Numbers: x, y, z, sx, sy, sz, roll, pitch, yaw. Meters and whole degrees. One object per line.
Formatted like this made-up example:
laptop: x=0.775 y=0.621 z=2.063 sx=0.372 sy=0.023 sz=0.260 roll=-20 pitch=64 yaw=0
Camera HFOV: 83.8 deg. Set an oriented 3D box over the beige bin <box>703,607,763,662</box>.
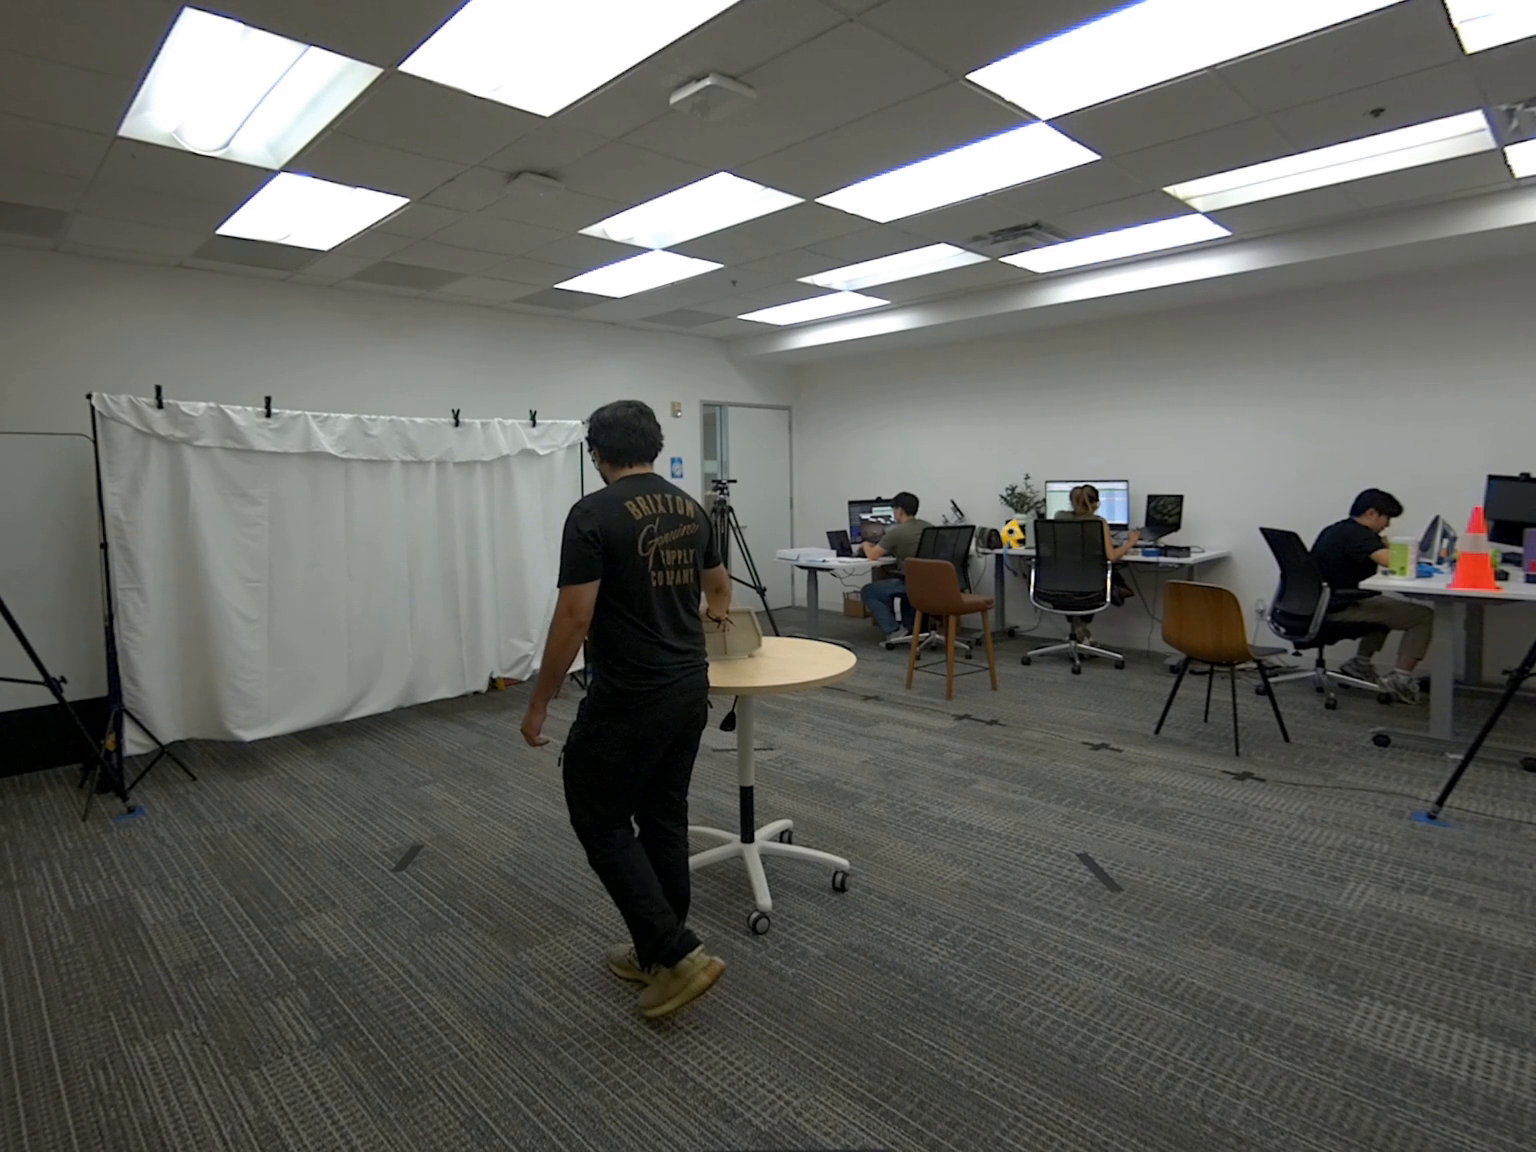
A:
beige bin: x=-0.244 y=0.173 z=3.102 sx=0.374 sy=0.188 sz=0.429 roll=-5 pitch=8 yaw=-10
